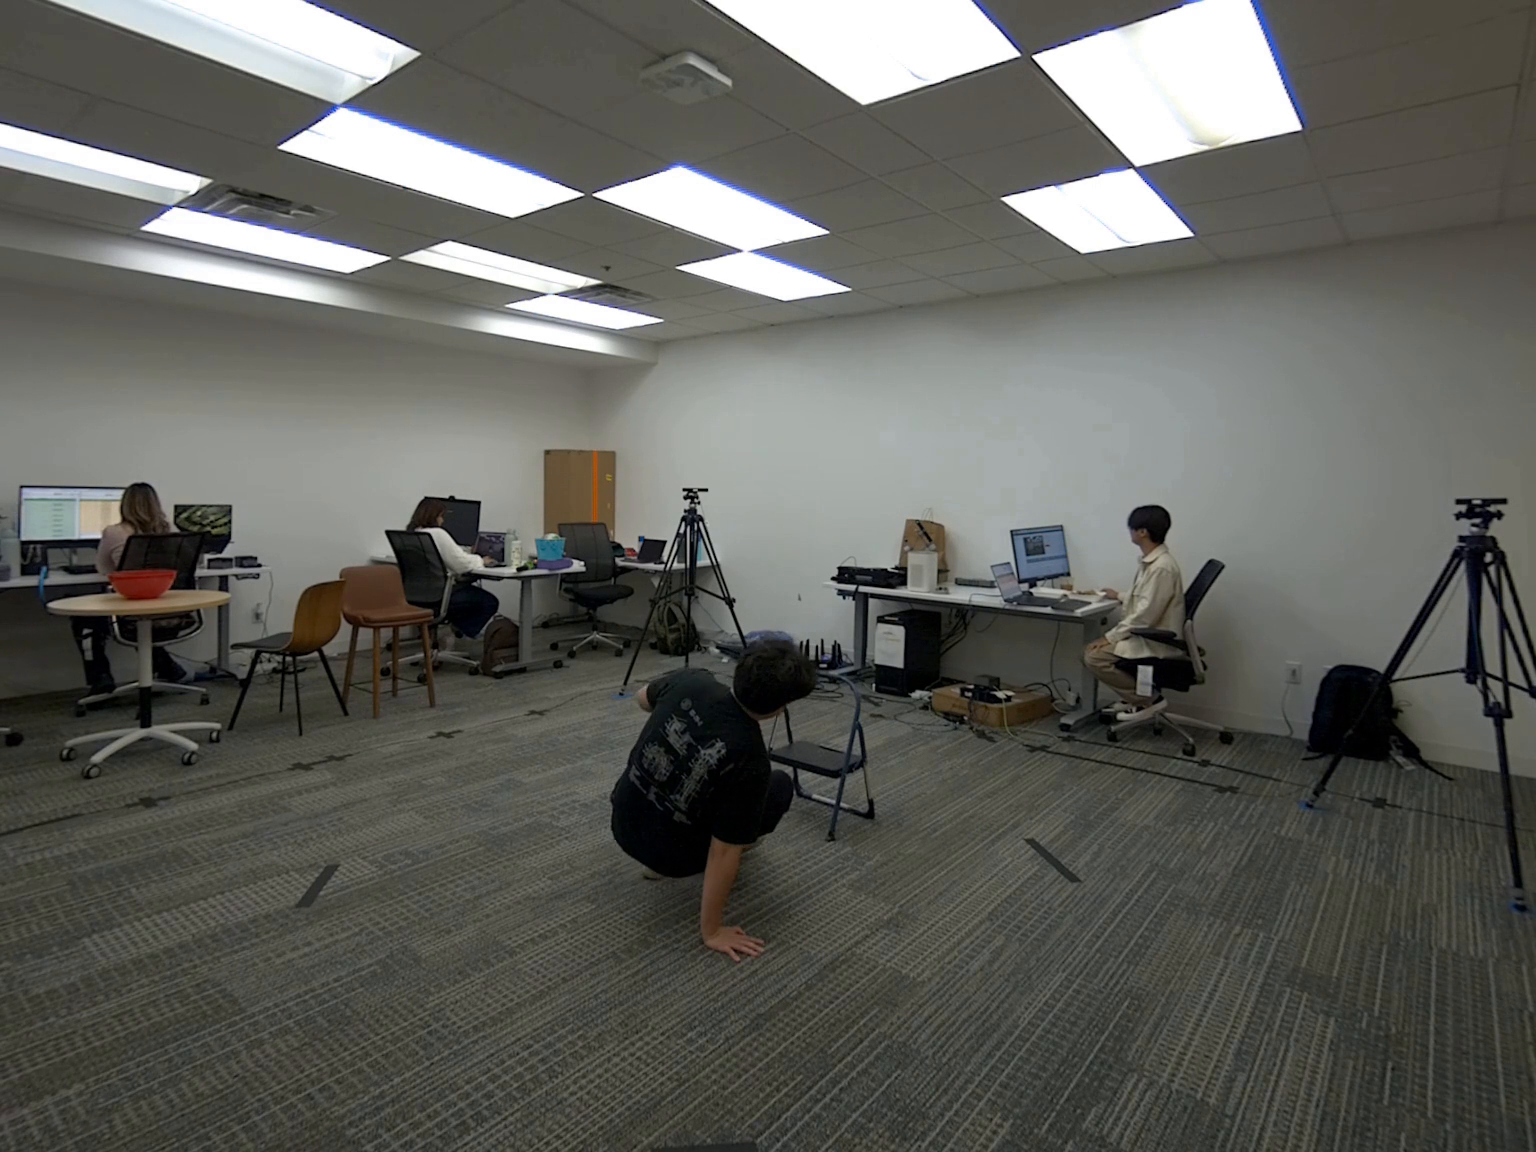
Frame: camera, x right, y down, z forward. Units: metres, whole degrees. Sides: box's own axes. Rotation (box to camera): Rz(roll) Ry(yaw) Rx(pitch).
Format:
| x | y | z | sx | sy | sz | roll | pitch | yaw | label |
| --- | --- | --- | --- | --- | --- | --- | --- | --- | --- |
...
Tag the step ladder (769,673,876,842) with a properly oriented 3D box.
| x | y | z | sx | sy | sz | roll | pitch | yaw | label |
| --- | --- | --- | --- | --- | --- | --- | --- | --- | --- |
| 0.193 | 0.725 | 3.635 | 0.445 | 0.604 | 0.339 | 5 | 5 | 40 | step ladder |
